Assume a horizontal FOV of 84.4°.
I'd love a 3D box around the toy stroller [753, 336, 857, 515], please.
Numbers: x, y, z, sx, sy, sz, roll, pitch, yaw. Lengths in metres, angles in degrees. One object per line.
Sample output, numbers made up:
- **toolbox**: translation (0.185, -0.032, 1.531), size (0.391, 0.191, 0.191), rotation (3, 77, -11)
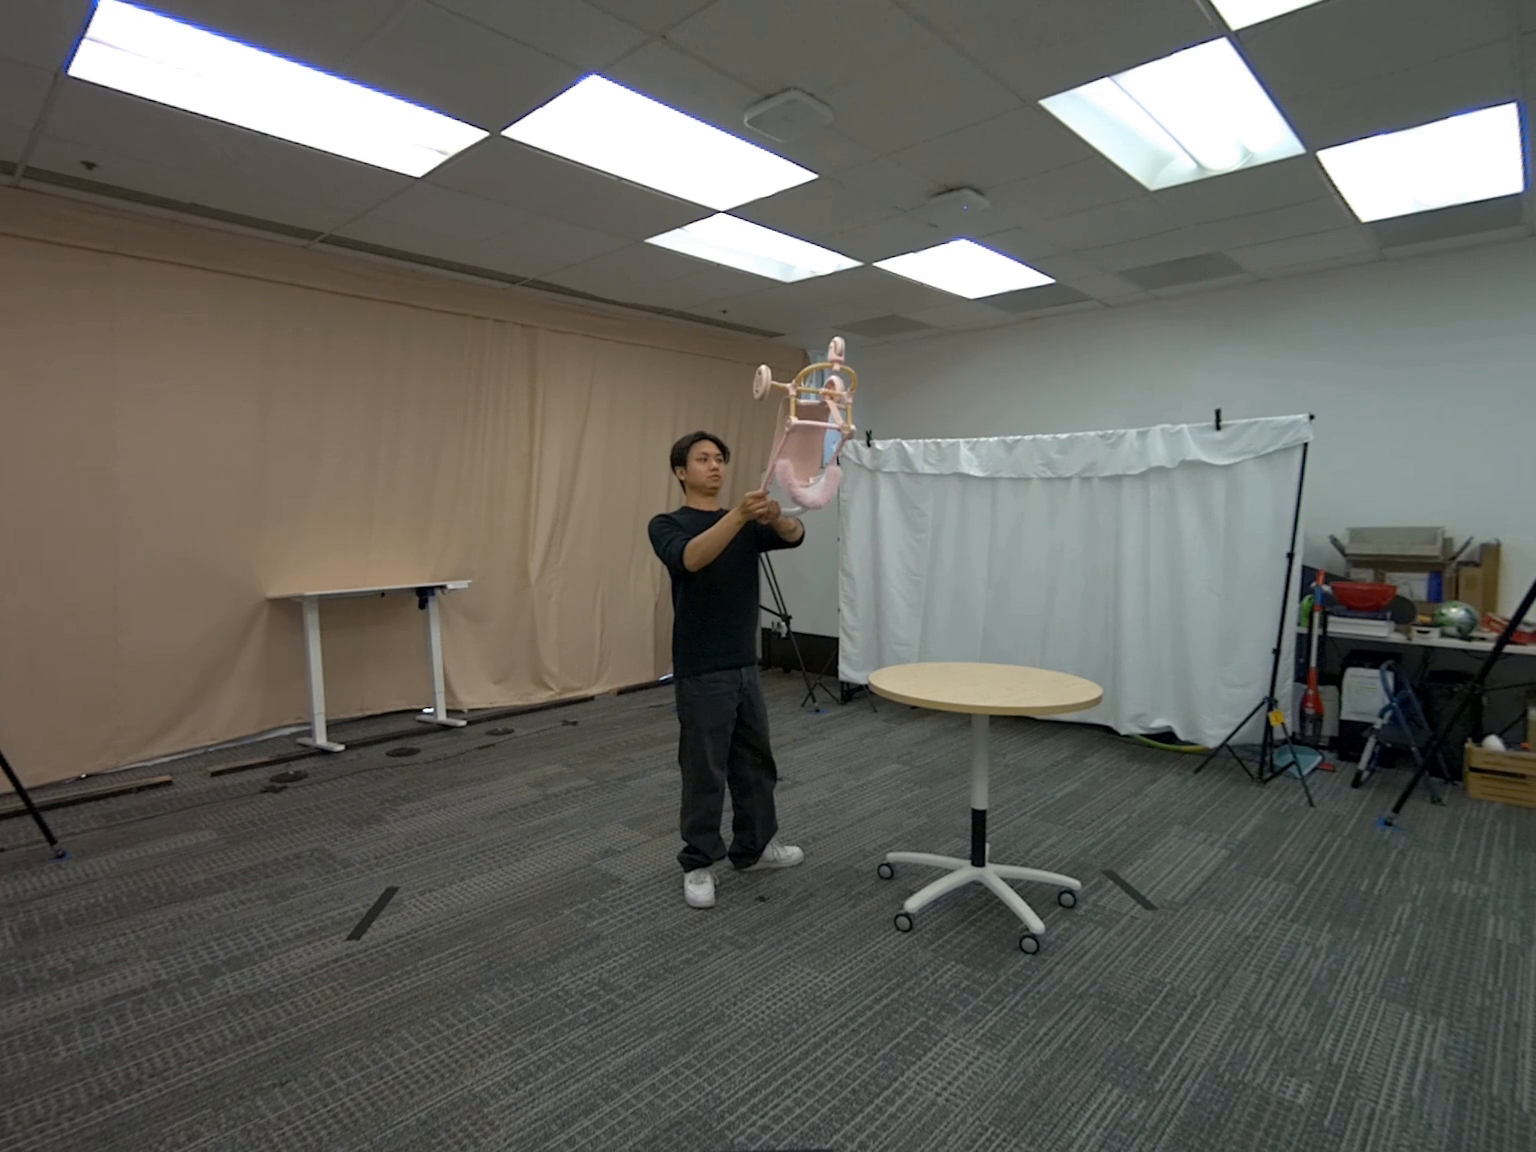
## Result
- **toy stroller**: translation (0.130, -0.442, 2.582), size (0.274, 0.535, 0.350), rotation (5, 1, -27)
